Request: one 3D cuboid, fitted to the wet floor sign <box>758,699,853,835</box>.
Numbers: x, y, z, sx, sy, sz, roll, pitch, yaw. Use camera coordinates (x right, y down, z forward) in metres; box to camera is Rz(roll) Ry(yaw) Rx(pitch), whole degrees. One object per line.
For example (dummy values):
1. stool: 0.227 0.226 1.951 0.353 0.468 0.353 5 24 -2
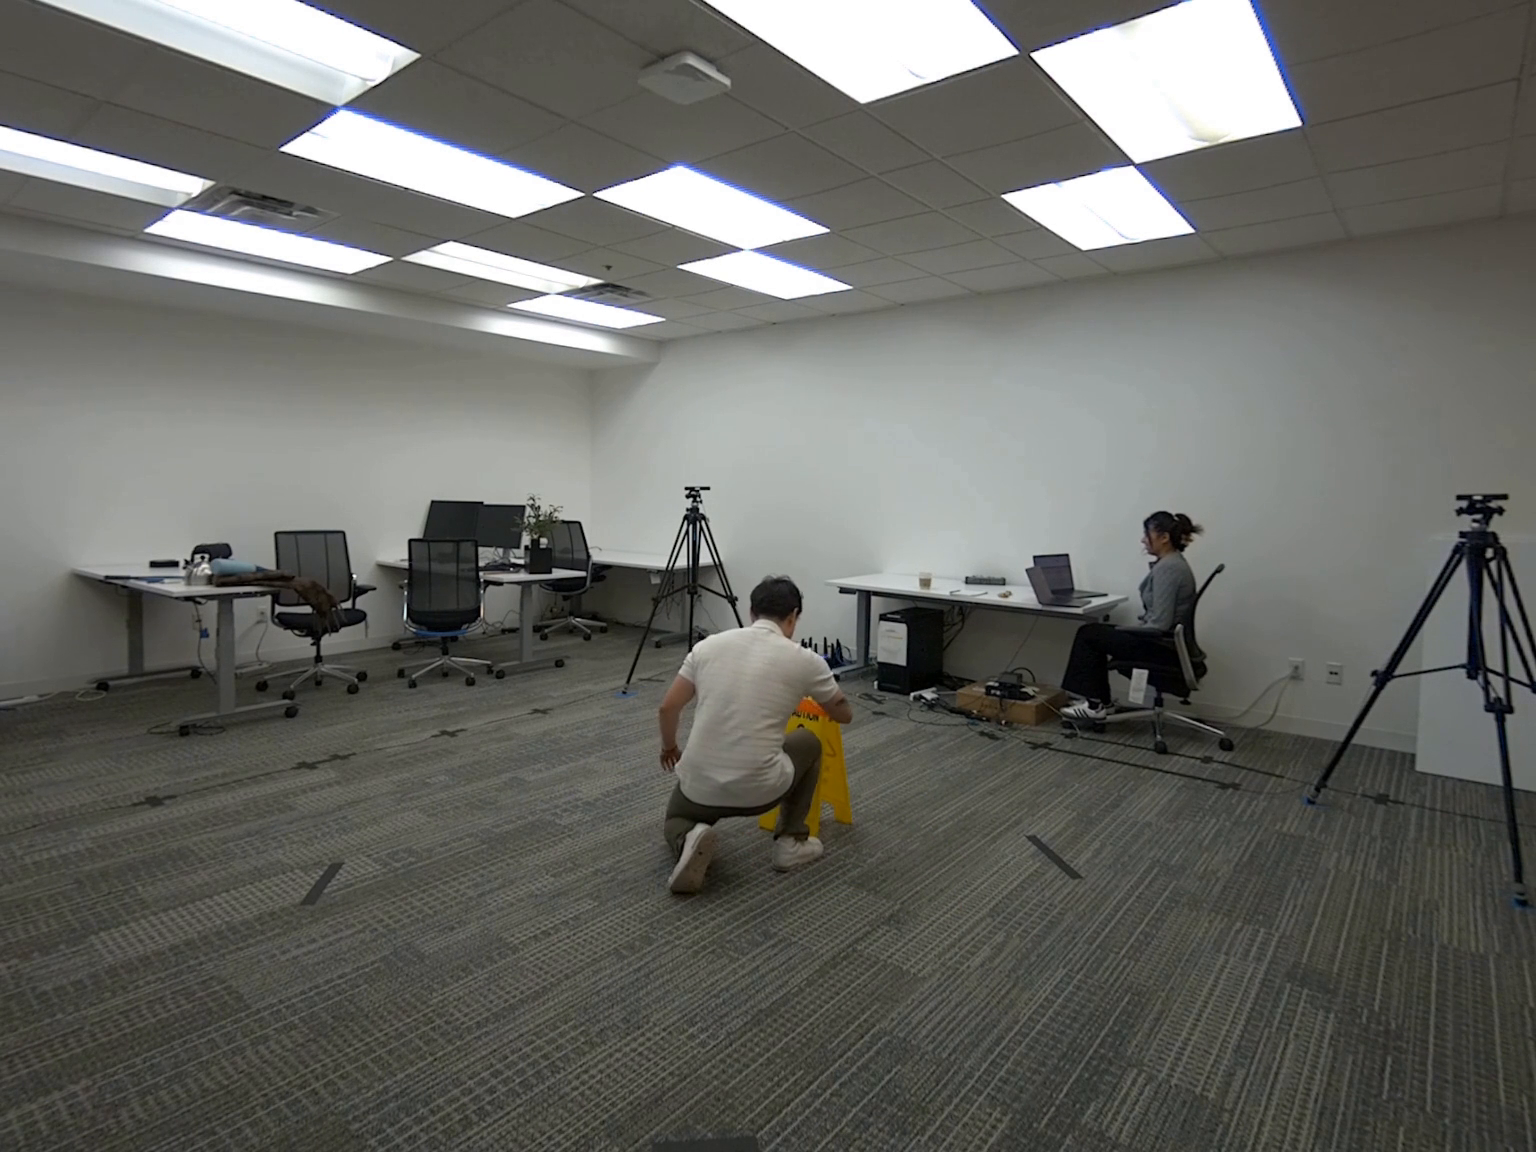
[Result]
1. wet floor sign: 0.151 0.705 3.512 0.291 0.645 0.281 4 2 37
